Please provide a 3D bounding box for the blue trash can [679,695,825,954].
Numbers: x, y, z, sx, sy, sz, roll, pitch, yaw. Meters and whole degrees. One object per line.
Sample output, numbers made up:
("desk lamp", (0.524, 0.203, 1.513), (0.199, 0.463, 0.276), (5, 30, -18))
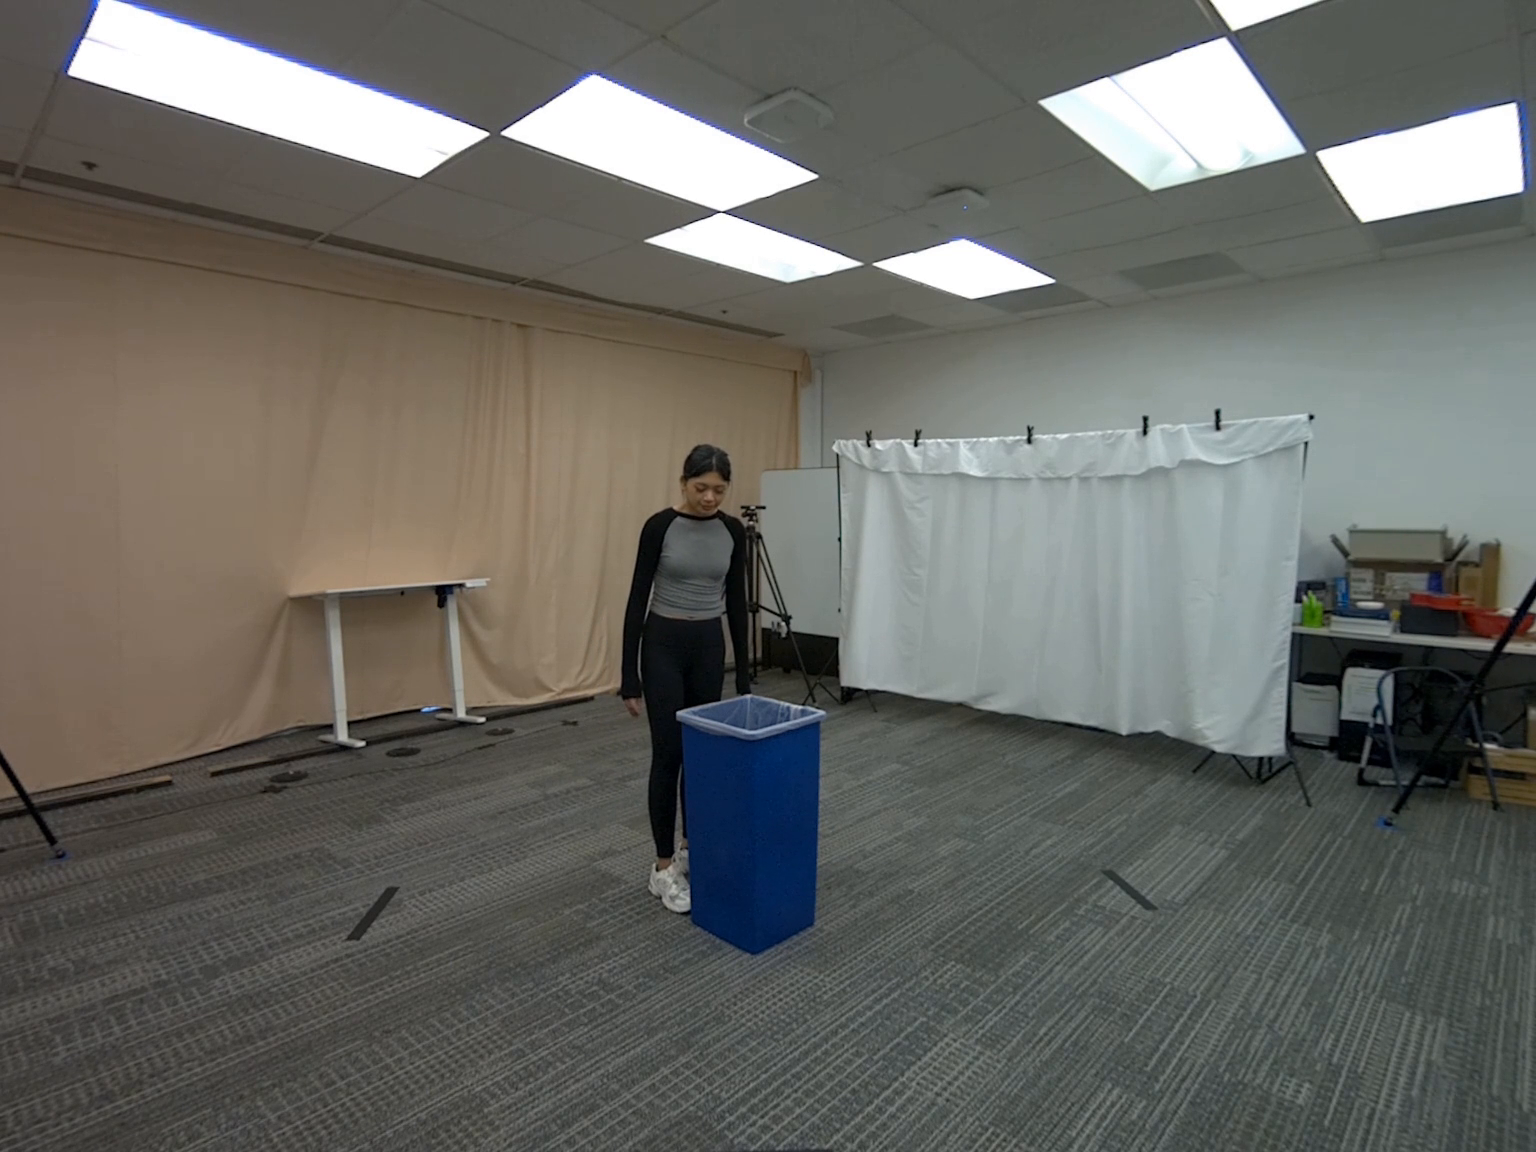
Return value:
("blue trash can", (-0.049, 0.803, 2.784), (0.391, 0.712, 0.362), (3, 4, 44))
